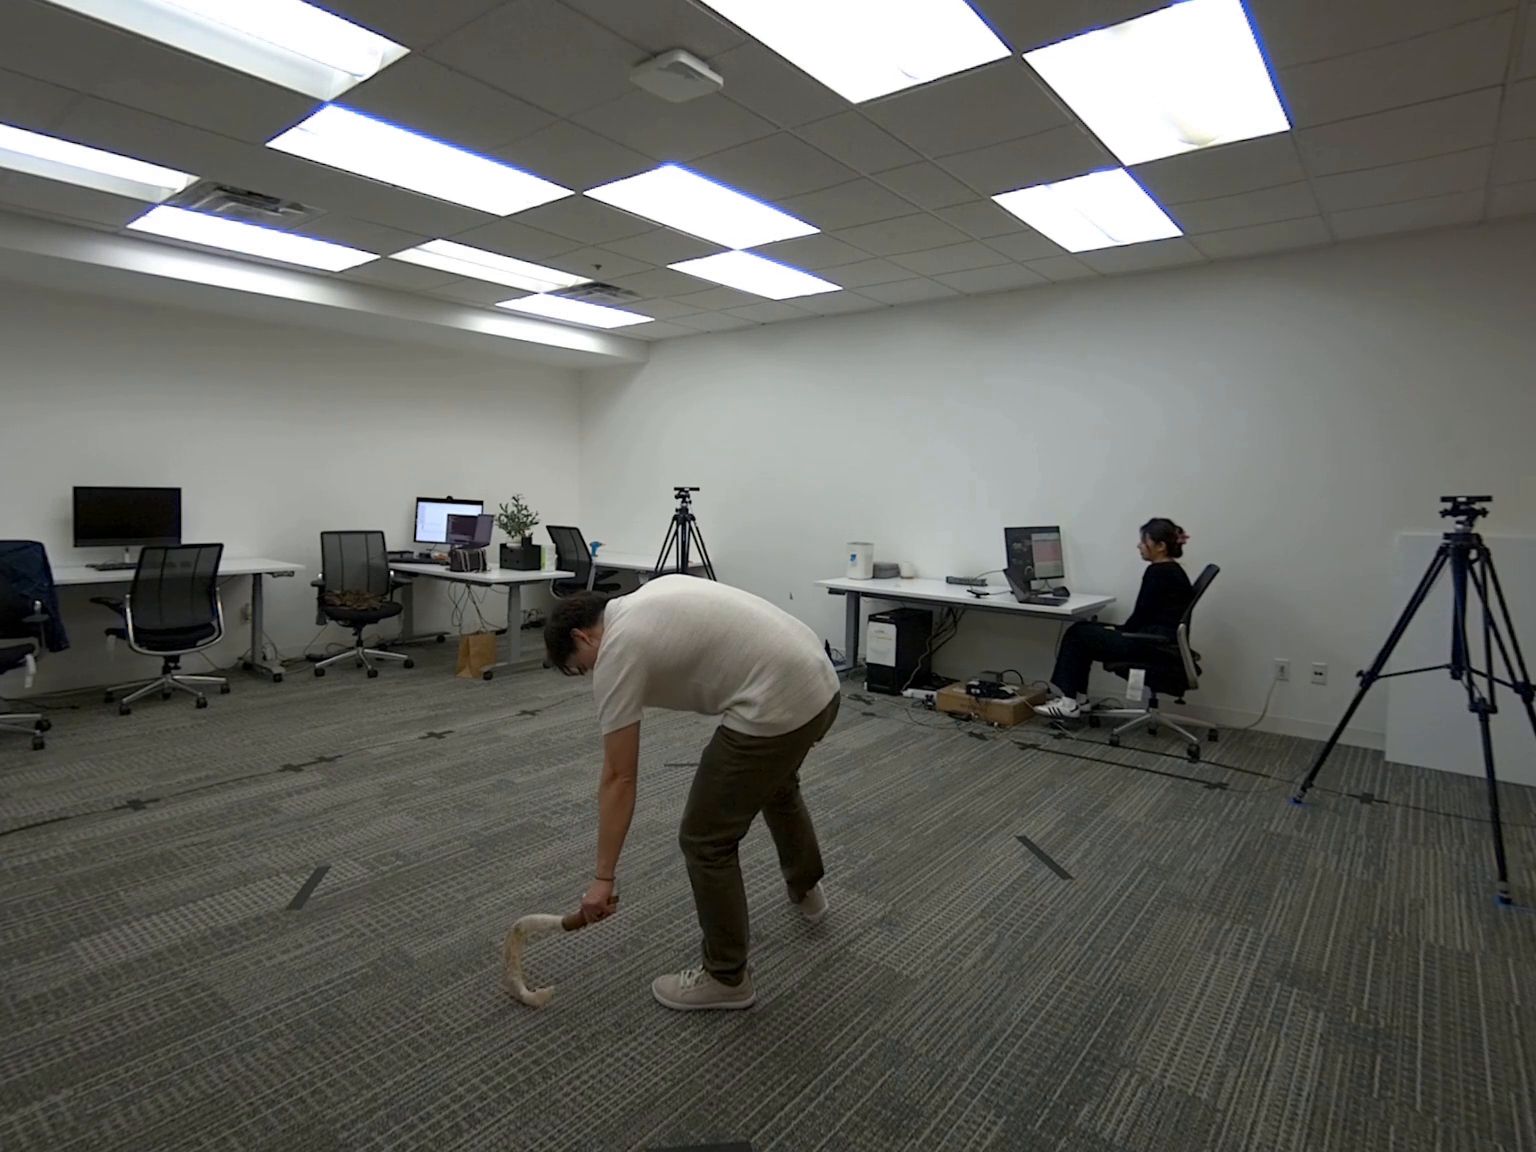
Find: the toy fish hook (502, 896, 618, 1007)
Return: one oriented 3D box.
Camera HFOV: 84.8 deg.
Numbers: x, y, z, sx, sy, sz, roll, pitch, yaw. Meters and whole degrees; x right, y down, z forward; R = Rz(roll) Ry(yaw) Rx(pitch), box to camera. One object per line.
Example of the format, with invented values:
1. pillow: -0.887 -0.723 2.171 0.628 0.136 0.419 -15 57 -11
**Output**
1. toy fish hook: -0.557 0.971 2.231 0.510 0.231 0.046 -35 -27 32
